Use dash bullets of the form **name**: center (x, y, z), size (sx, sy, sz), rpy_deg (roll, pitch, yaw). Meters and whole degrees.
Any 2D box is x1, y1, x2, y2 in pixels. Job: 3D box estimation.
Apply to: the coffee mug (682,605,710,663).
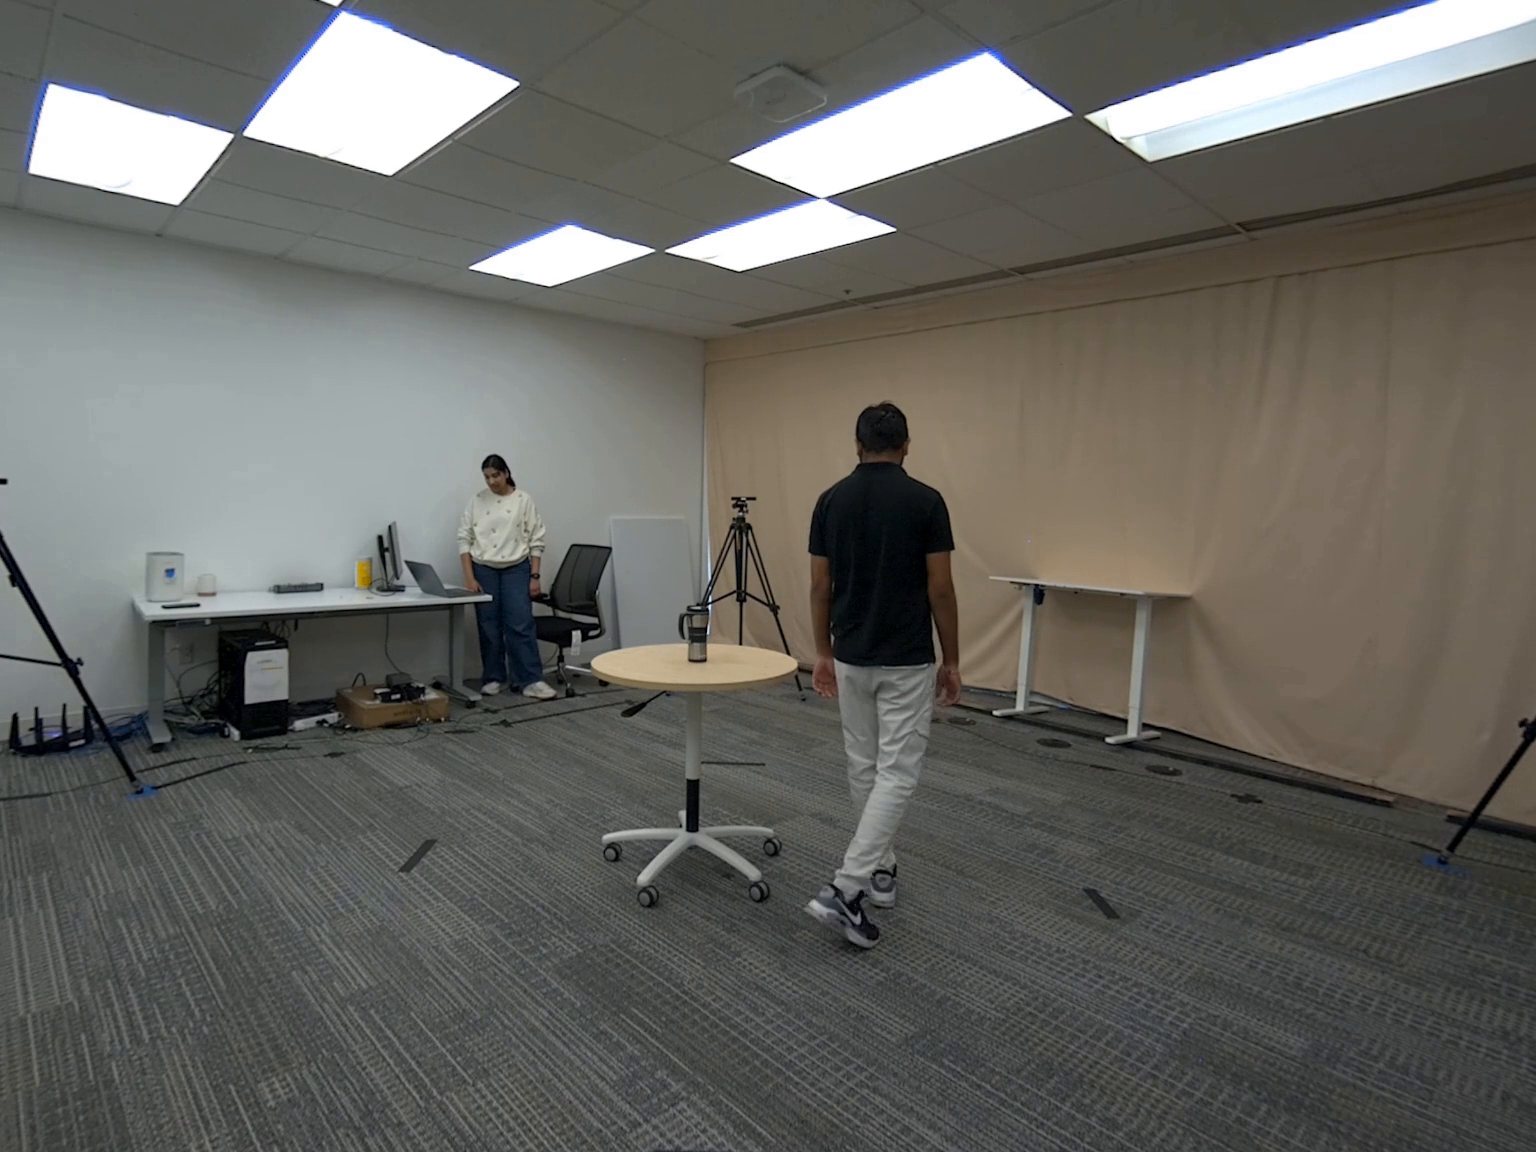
- **coffee mug**: center (-0.289, 0.220, 3.127), size (0.120, 0.202, 0.090), rpy_deg (4, 5, -23)
